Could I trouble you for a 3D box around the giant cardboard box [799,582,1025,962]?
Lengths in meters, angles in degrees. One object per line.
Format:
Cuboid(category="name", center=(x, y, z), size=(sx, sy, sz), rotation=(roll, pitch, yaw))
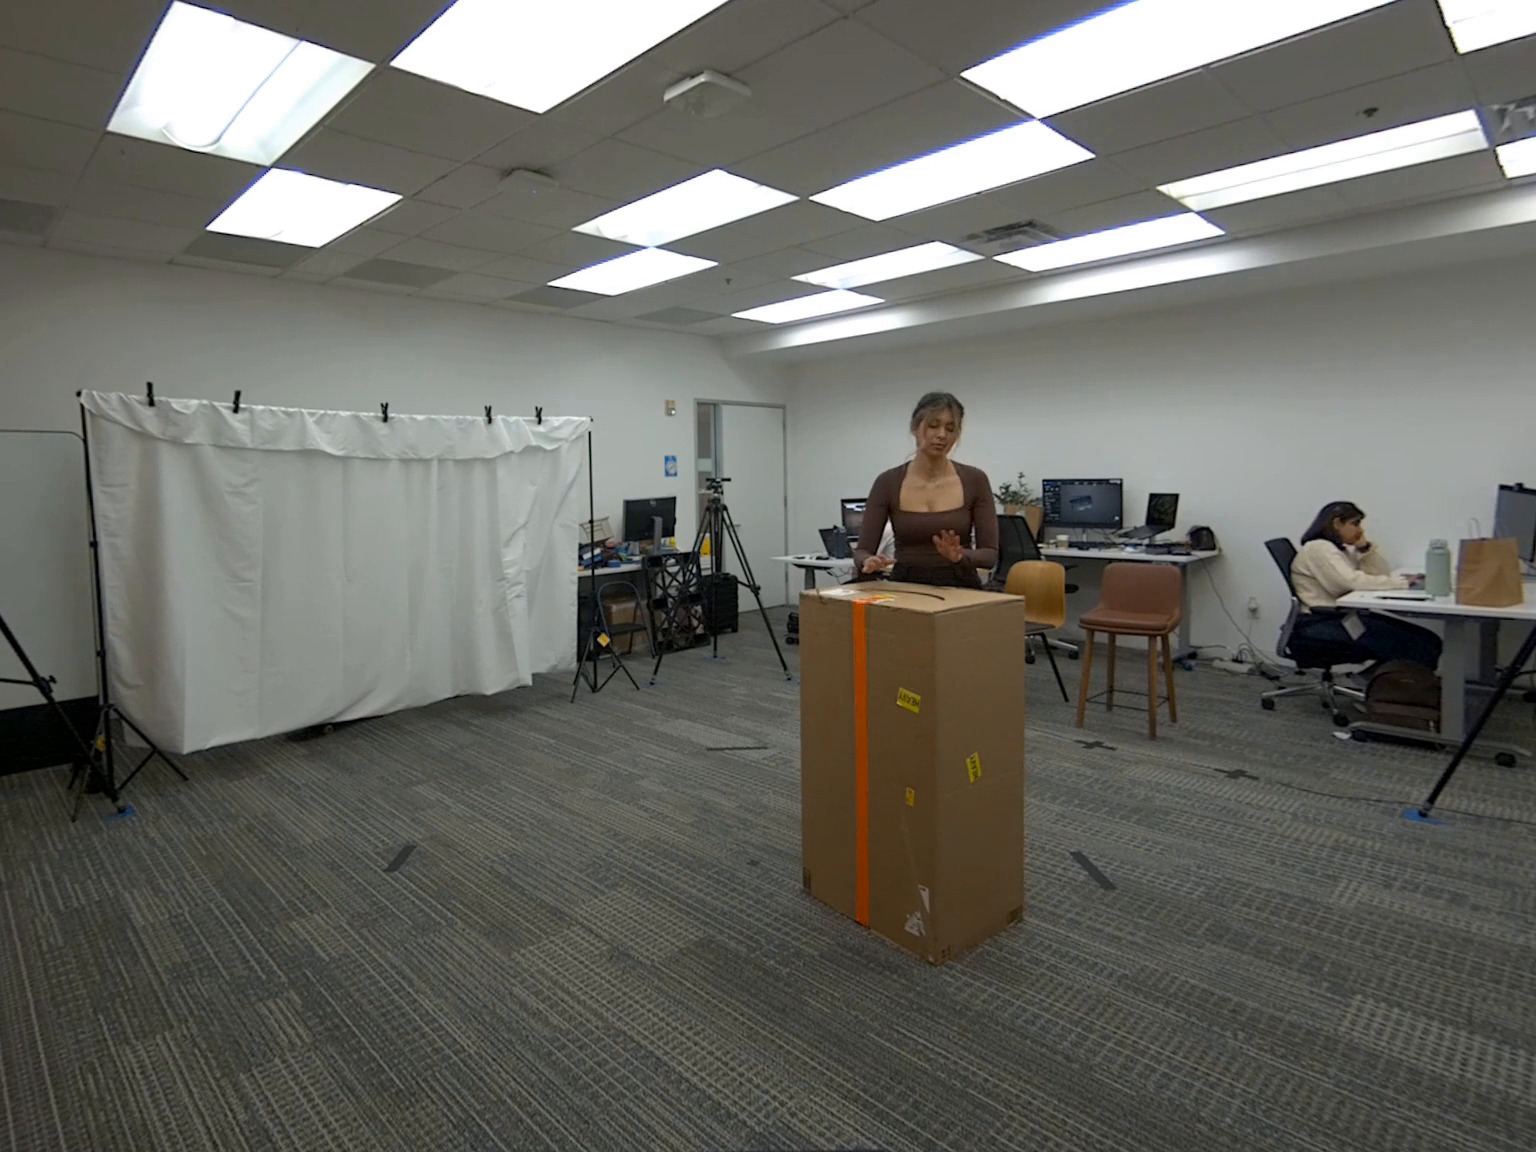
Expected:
Cuboid(category="giant cardboard box", center=(0.452, 0.563, 2.746), size=(0.435, 1.023, 0.601), rotation=(-4, 5, -37))
